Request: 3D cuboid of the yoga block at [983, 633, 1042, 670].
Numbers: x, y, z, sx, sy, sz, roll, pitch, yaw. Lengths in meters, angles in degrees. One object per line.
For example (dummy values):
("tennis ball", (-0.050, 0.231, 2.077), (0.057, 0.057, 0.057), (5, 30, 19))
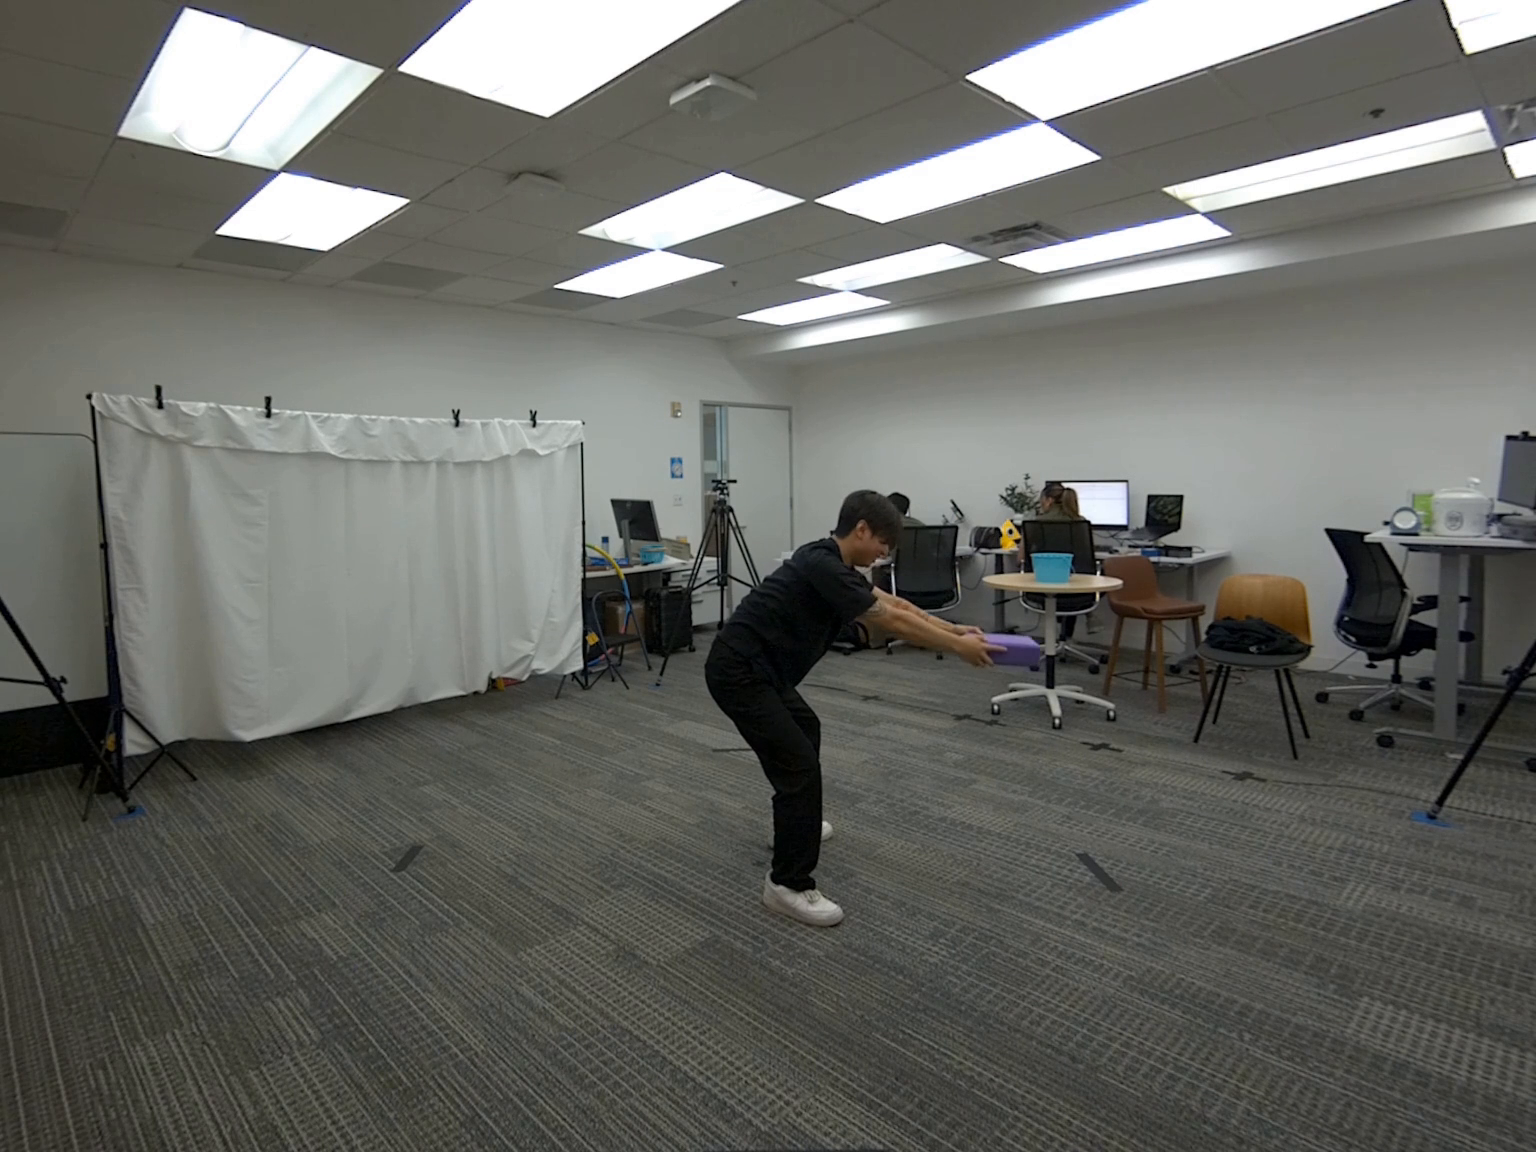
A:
("yoga block", (0.787, 0.251, 2.890), (0.231, 0.076, 0.149), (4, 7, 6))
